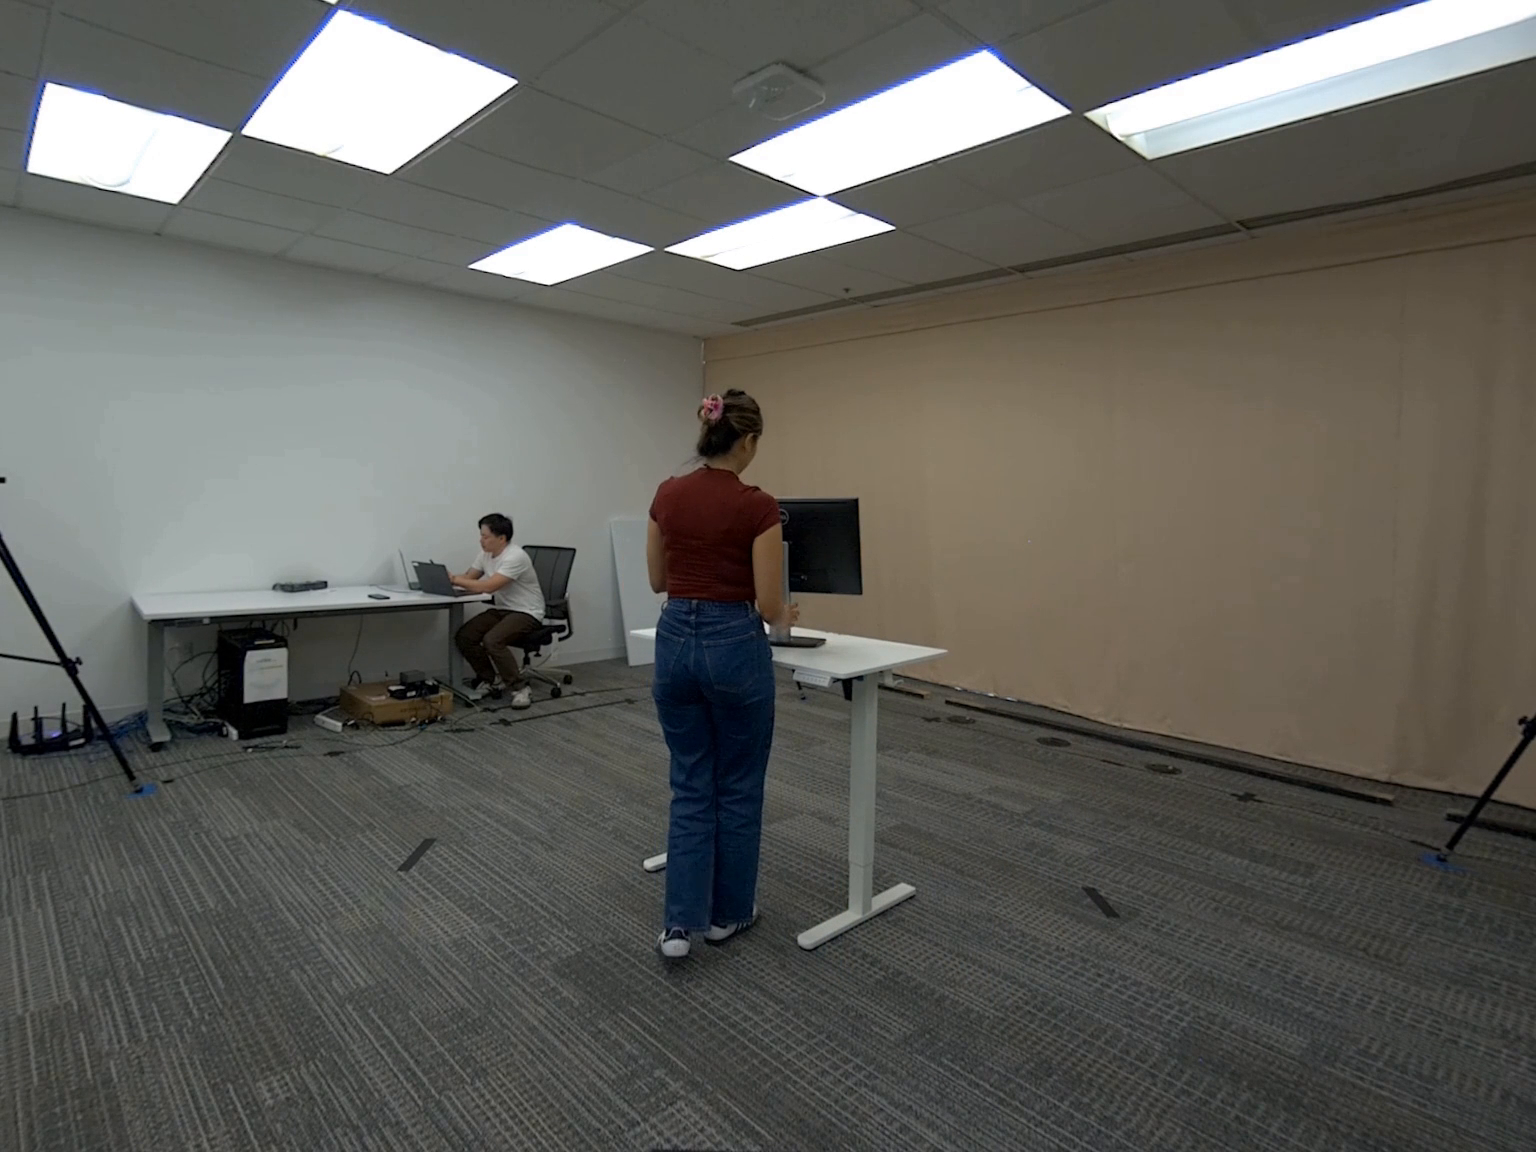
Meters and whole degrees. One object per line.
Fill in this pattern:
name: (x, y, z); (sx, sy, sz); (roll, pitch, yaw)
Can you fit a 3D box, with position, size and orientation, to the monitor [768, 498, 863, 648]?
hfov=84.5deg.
monitor: (0.047, -0.015, 2.961); (0.547, 0.521, 0.185); (1, 4, 18)
